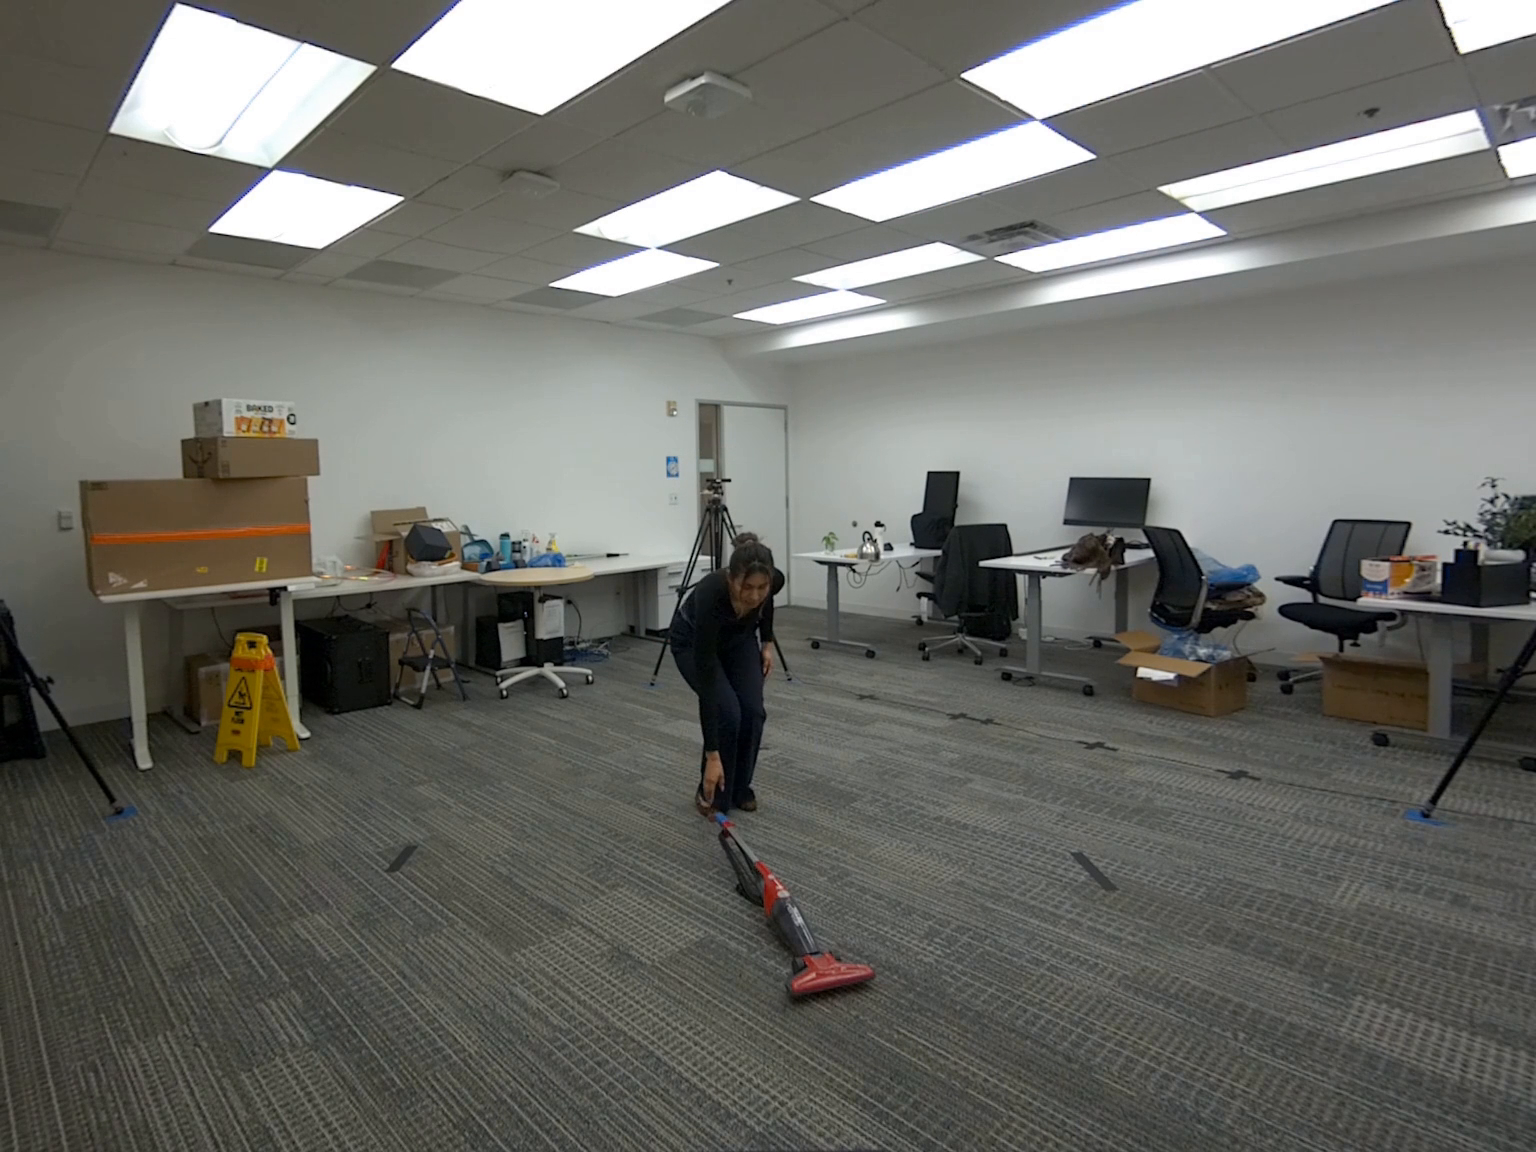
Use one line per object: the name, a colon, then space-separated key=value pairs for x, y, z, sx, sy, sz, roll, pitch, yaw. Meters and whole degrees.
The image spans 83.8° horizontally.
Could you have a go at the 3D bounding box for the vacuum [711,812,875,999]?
vacuum: x=-0.022 y=1.018 z=2.847 sx=0.248 sy=0.143 sz=1.072 roll=3 pitch=5 yaw=-20
